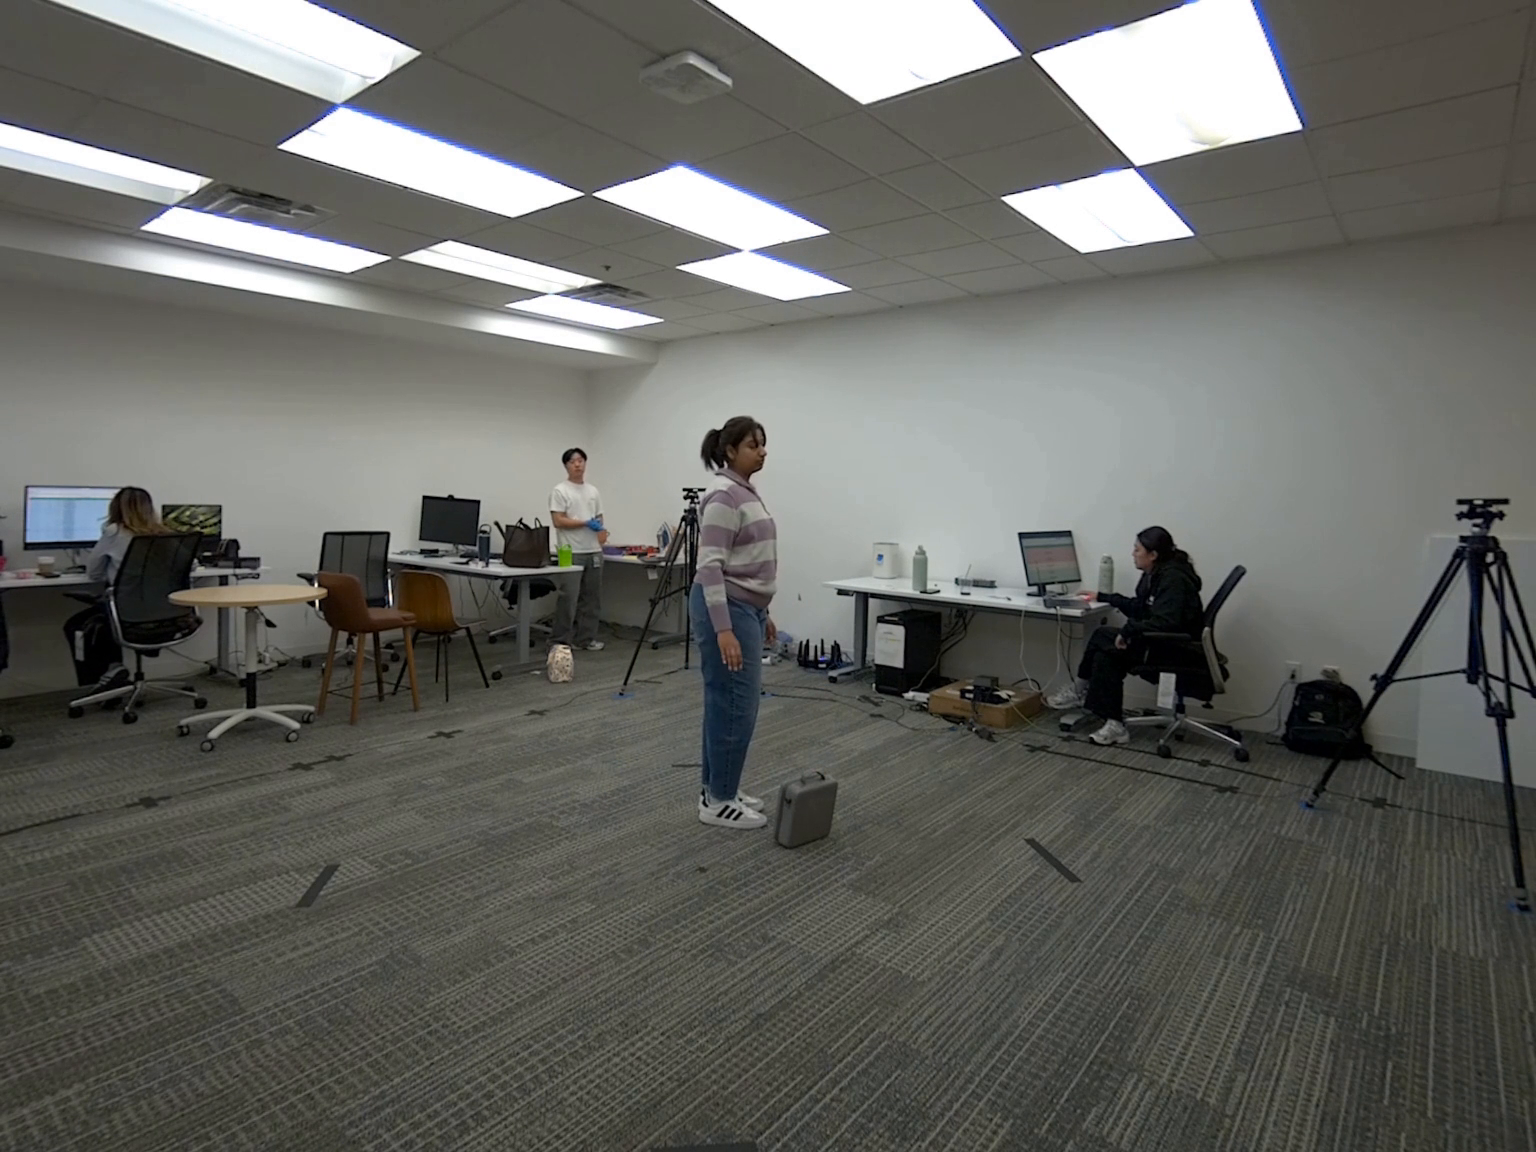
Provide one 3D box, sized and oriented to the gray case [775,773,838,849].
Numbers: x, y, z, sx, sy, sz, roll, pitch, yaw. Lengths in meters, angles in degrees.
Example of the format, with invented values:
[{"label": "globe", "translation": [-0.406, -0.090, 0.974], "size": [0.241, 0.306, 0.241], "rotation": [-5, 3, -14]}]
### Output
[{"label": "gray case", "translation": [0.146, 0.918, 3.381], "size": [0.249, 0.258, 0.108], "rotation": [-2, 13, -40]}]
